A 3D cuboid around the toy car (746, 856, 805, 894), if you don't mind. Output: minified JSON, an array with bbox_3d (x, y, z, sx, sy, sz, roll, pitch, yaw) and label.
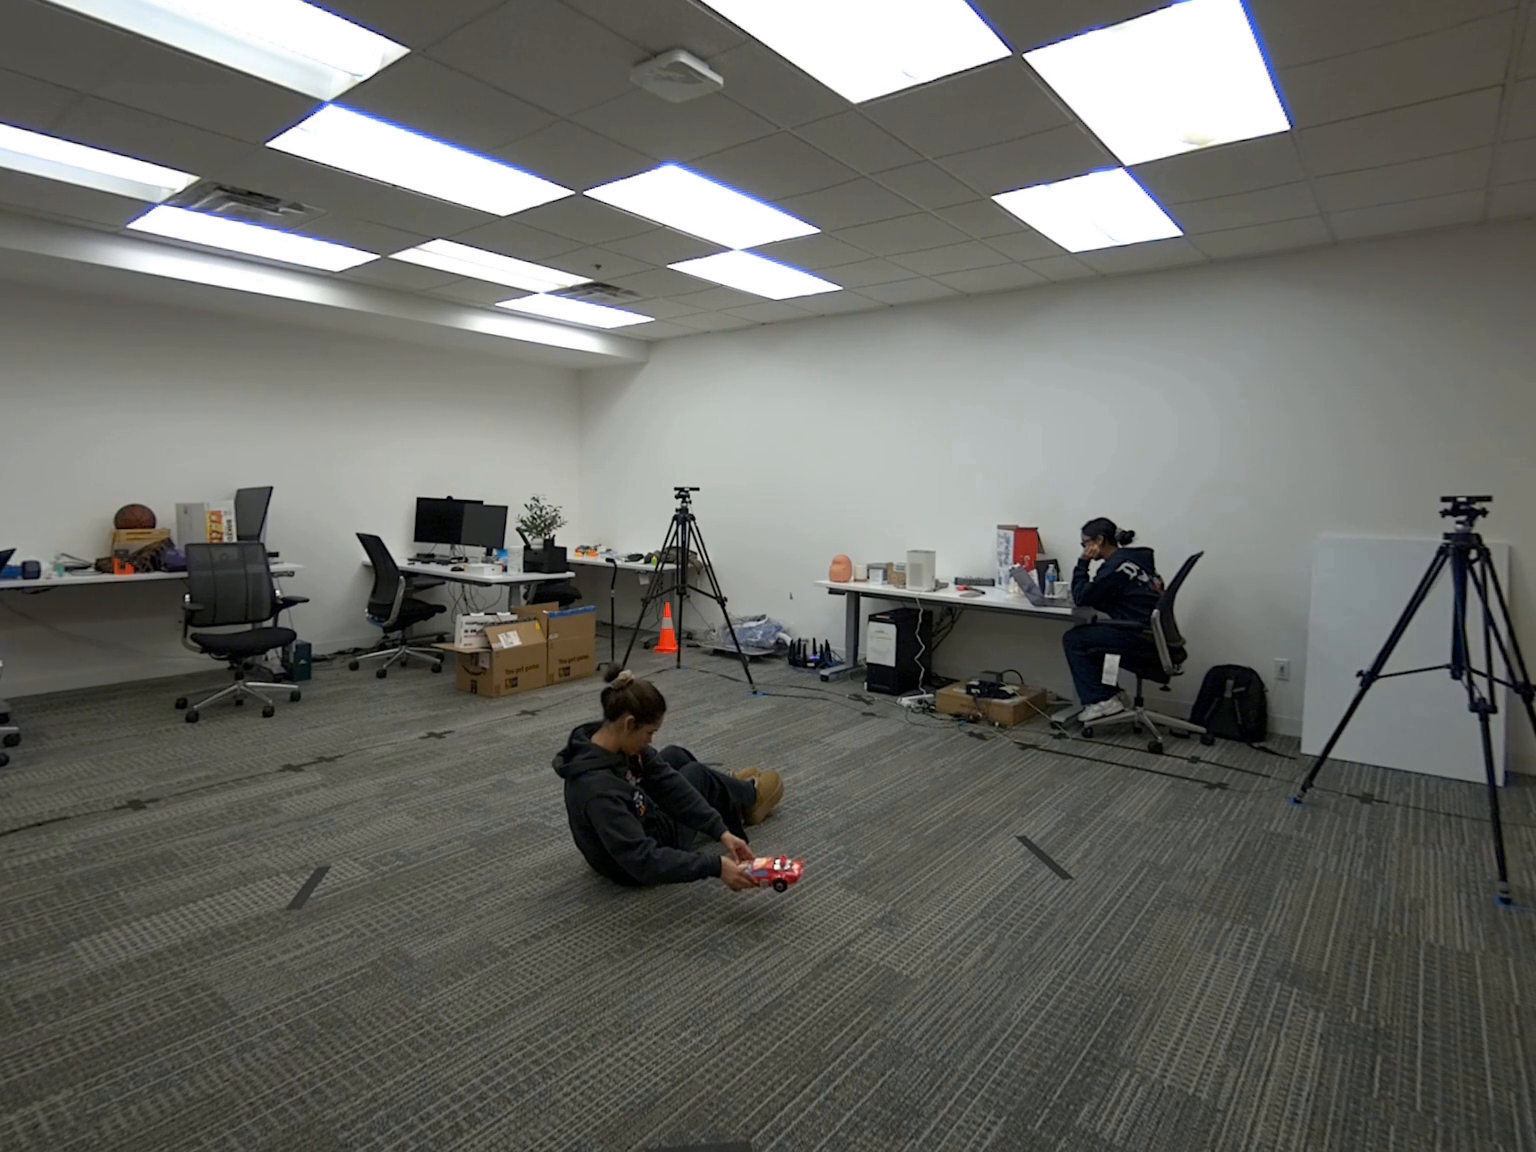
[{"bbox_3d":[-0.003,0.975,2.779,0.258,0.082,0.130,-16,11,16],"label":"toy car"}]
